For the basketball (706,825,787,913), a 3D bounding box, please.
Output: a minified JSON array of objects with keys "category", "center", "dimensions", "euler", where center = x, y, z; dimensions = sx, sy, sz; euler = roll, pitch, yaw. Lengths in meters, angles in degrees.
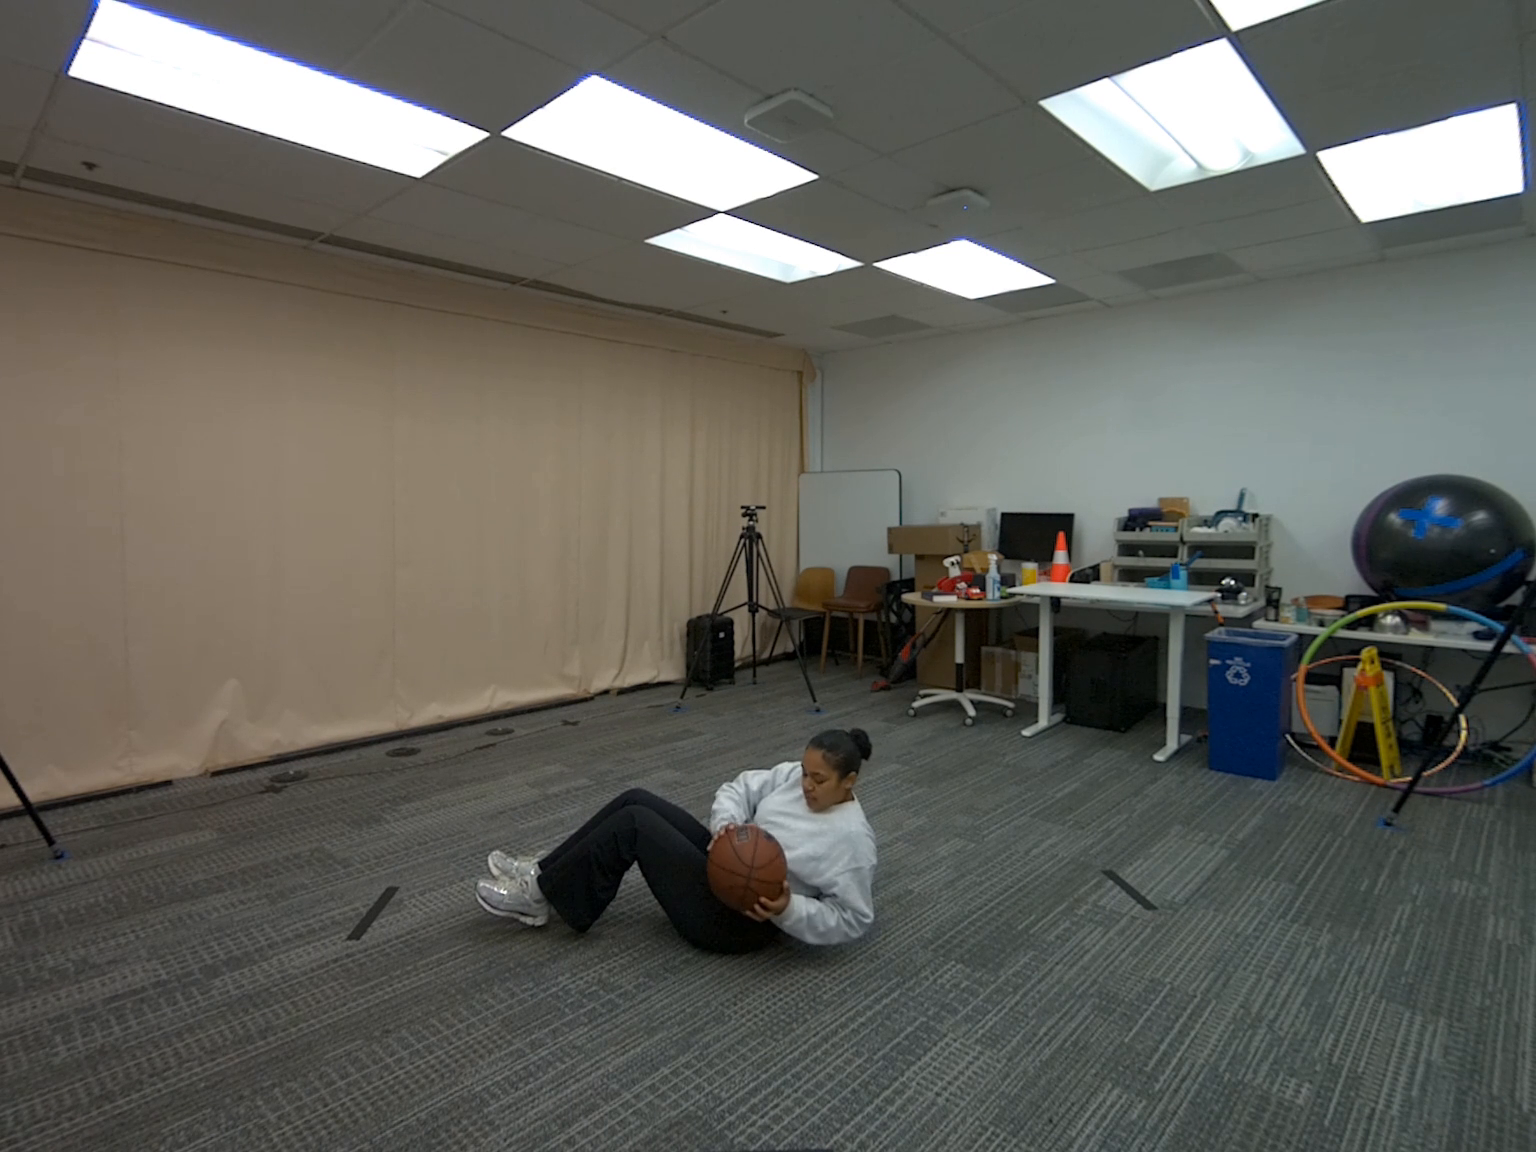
[{"category":"basketball","center":[-0.059,0.854,2.497],"dimensions":[0.236,0.235,0.237],"euler":[0,4,-2]}]
